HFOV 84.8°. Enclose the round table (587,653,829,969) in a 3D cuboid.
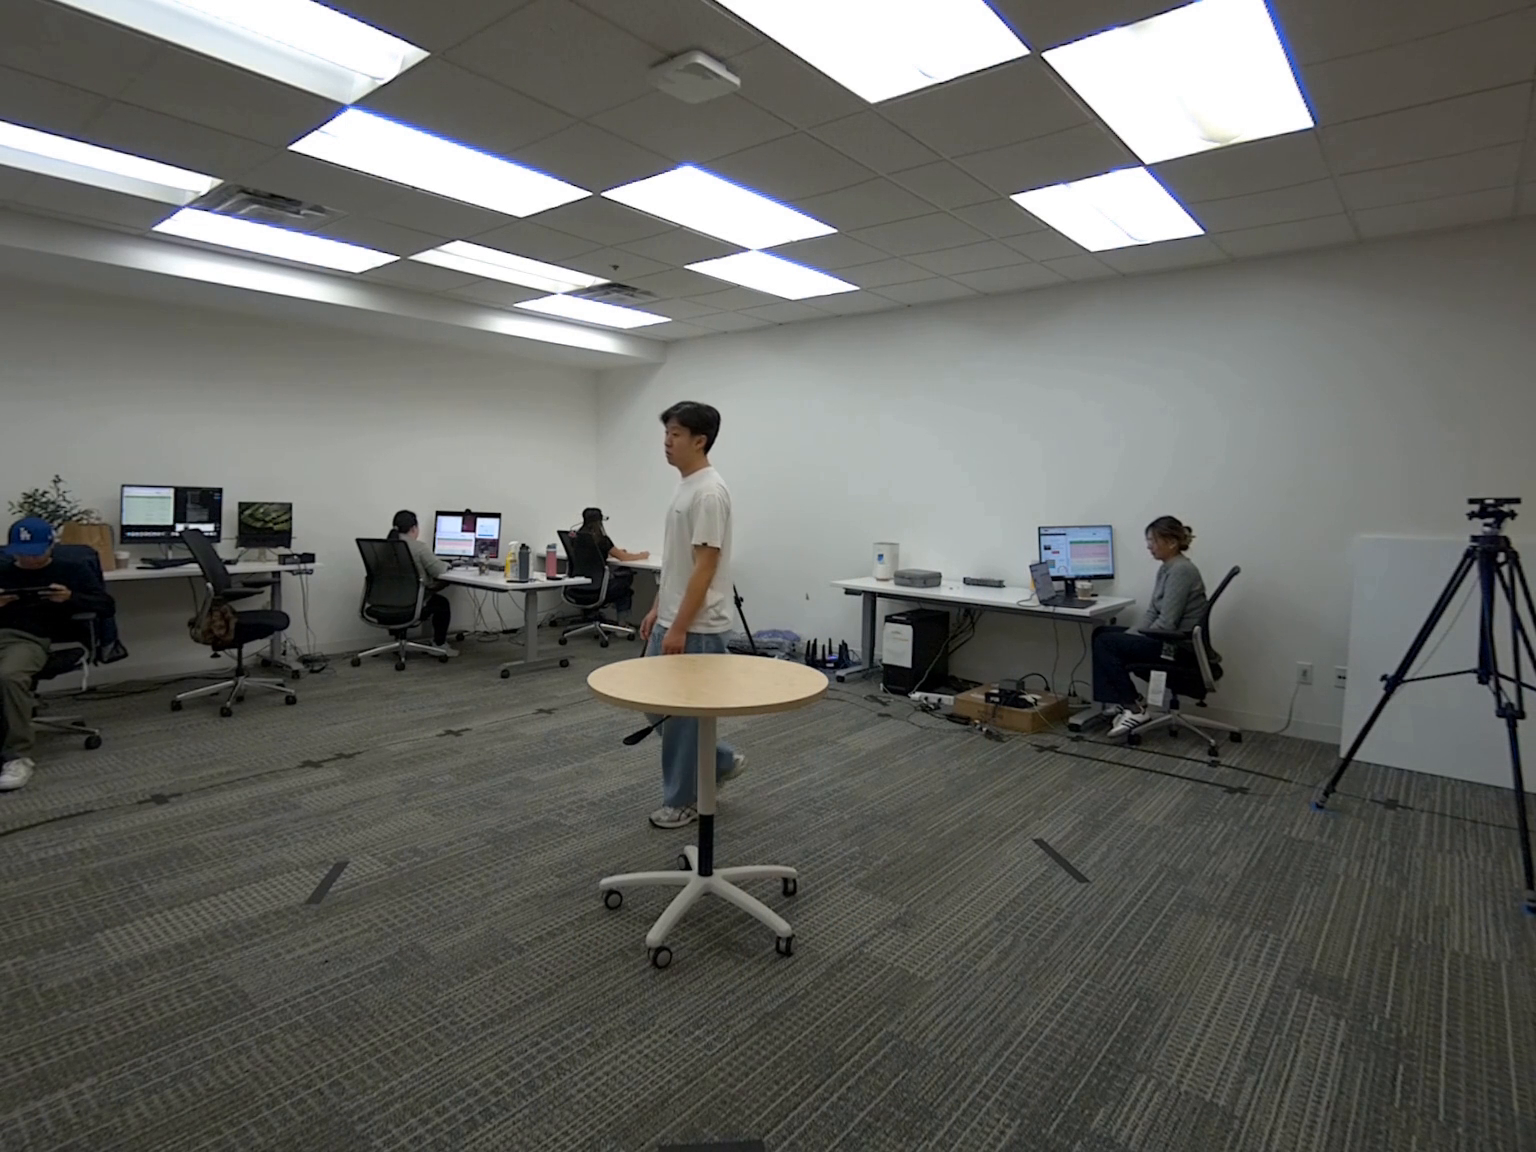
[{"bbox_3d":[-0.208,0.713,2.742,0.763,0.791,0.768,1,4,-2],"label":"round table"}]
